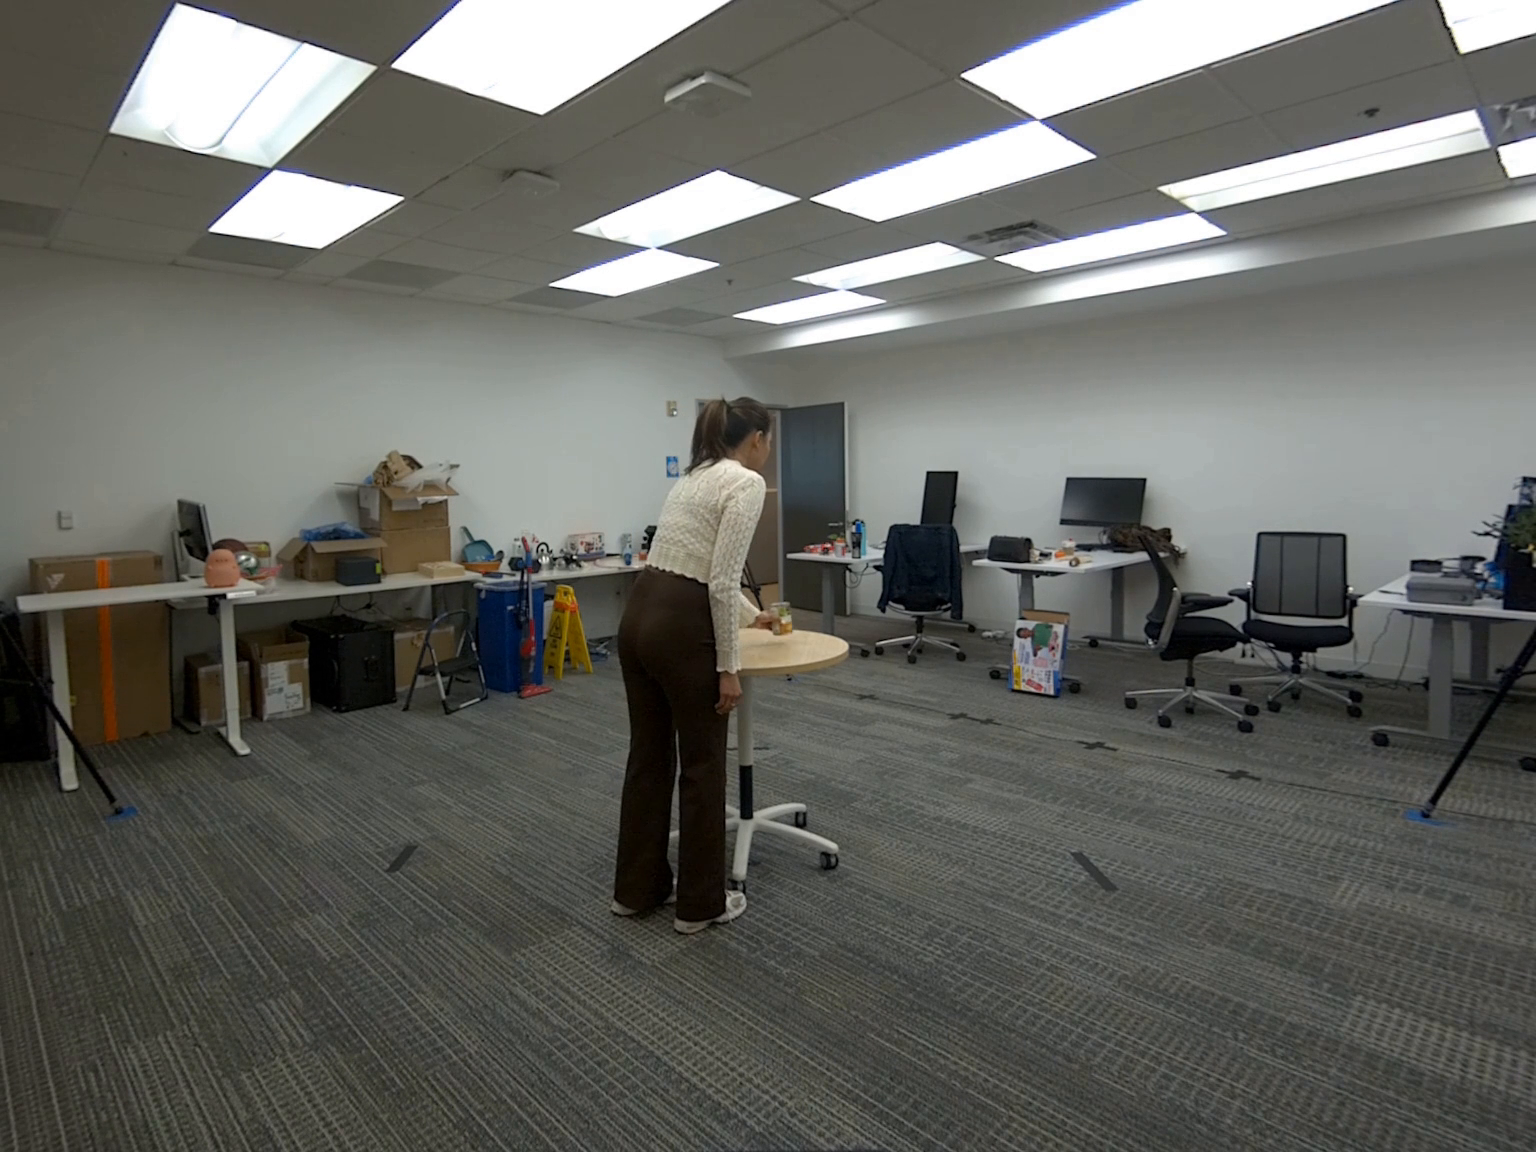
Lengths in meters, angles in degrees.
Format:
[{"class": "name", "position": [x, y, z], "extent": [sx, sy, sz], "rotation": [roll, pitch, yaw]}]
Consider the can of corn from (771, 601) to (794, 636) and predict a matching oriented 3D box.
[{"class": "can of corn", "position": [0.055, 0.157, 3.153], "extent": [0.074, 0.111, 0.074], "rotation": [-5, 4, -1]}]
